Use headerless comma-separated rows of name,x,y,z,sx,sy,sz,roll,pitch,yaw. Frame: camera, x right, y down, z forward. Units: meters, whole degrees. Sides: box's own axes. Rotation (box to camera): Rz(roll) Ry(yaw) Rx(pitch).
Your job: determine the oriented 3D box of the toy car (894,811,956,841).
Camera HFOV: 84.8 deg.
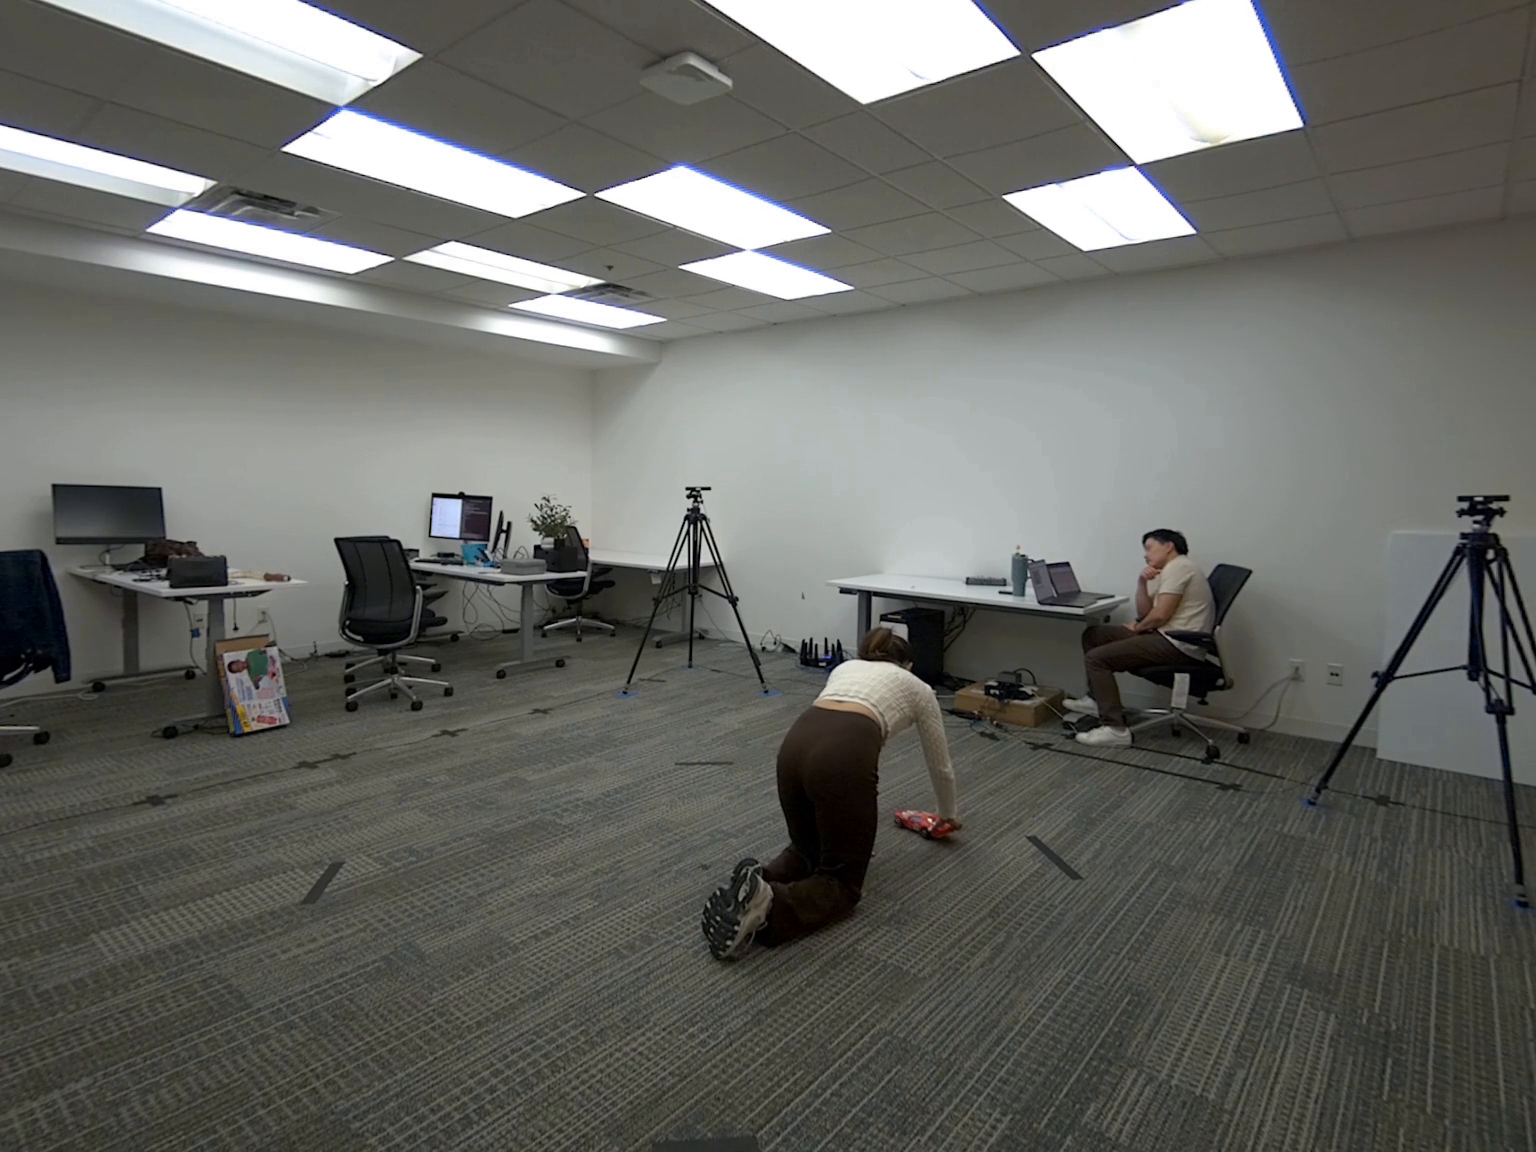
toy car,0.631,1.012,3.491,0.126,0.084,0.261,-1,-5,-37
